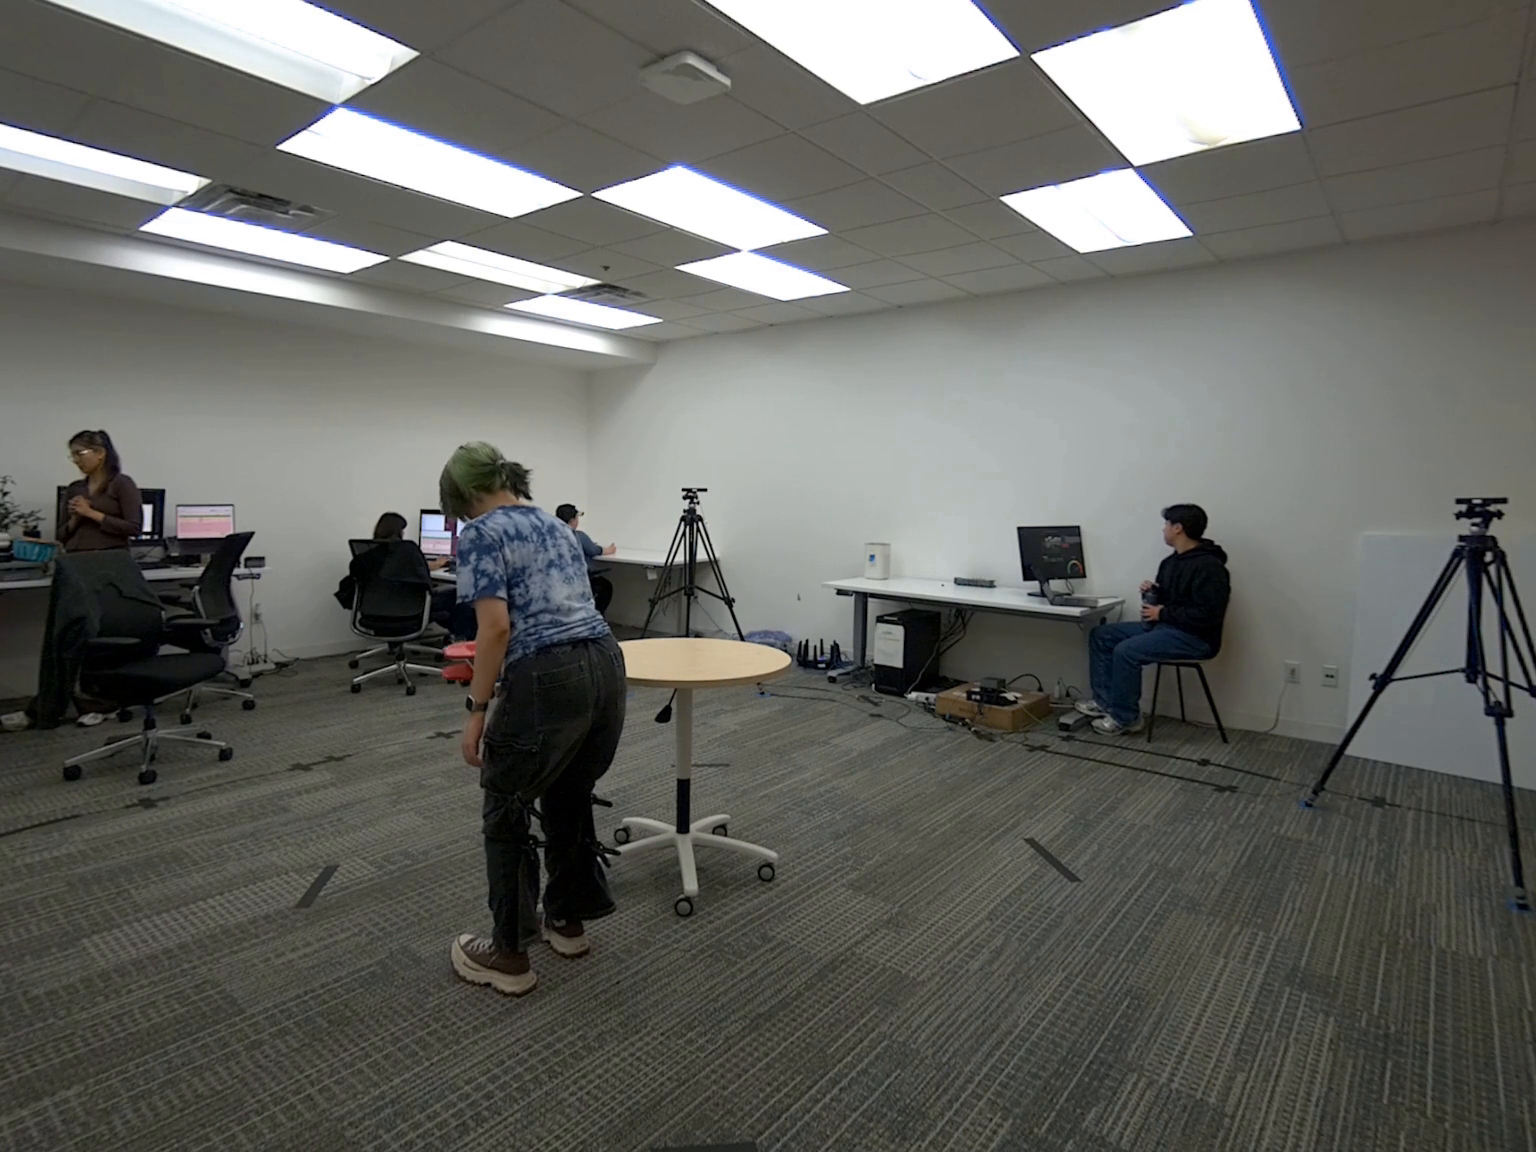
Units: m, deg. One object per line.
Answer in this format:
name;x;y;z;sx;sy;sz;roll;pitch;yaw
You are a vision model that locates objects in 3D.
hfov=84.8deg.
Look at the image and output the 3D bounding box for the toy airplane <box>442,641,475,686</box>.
toy airplane;-0.921;0.302;2.788;0.266;0.155;0.245;4;7;27
